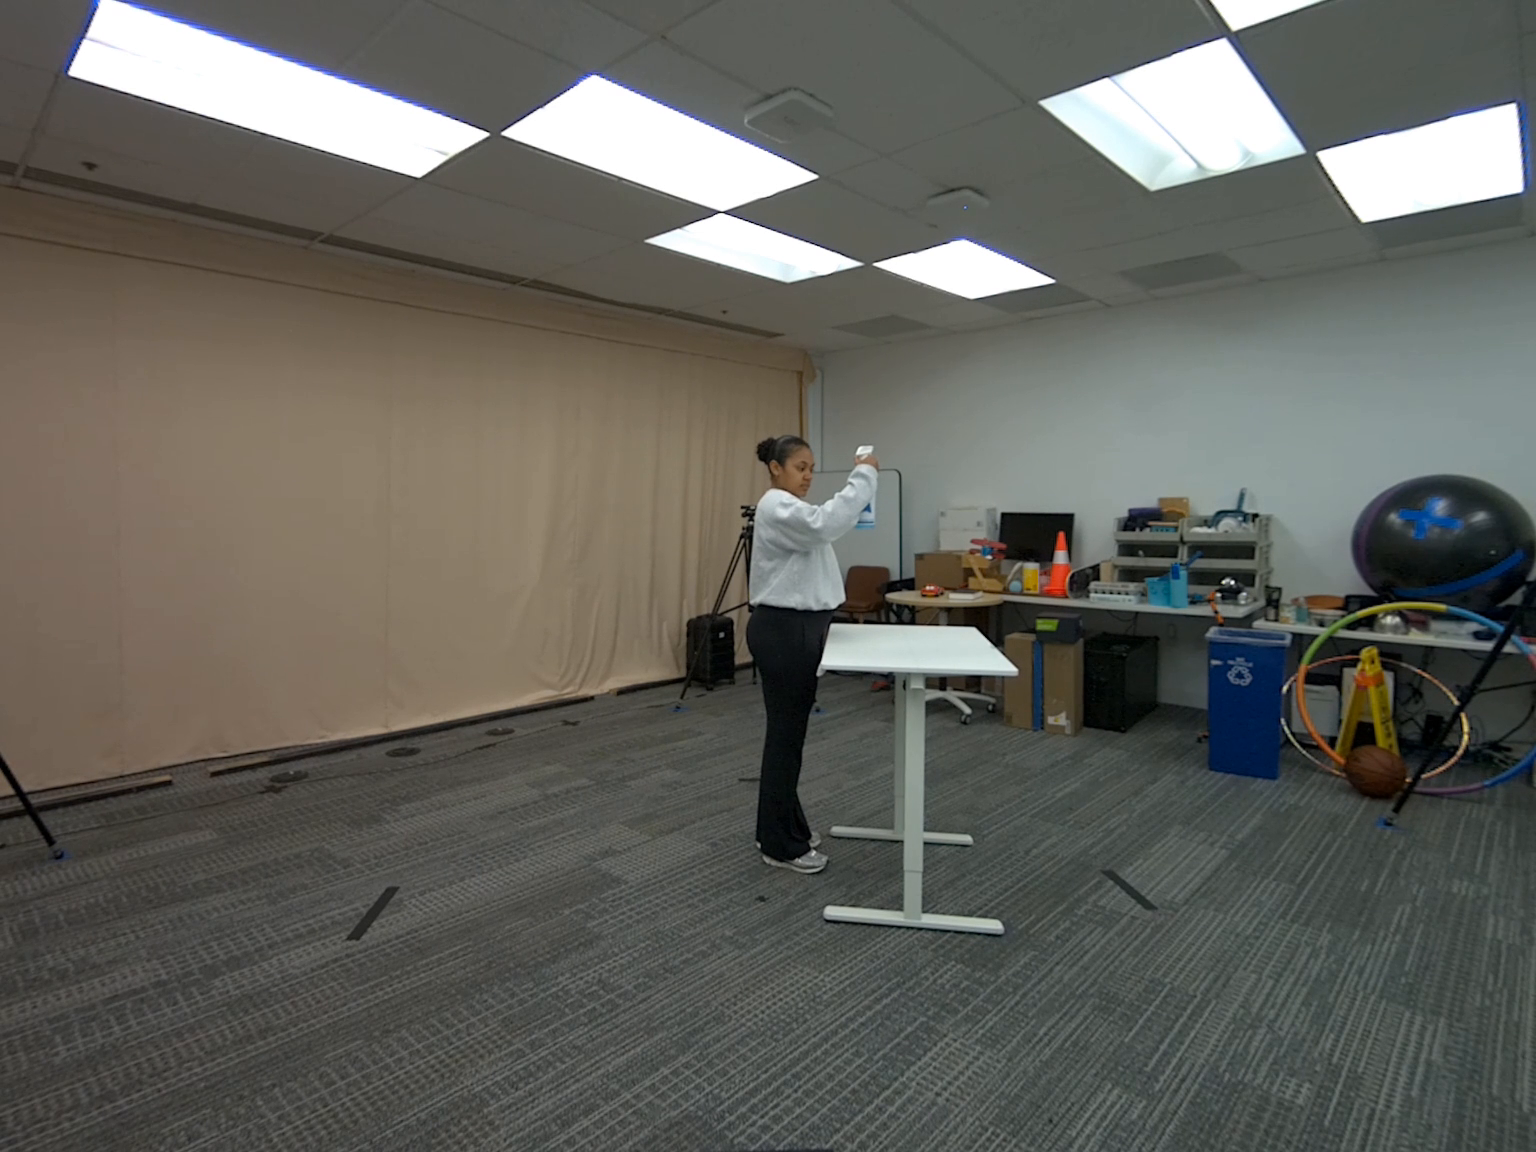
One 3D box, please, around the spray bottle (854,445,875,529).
[{"bbox_3d":[0.346,-0.318,3.036,0.088,0.296,0.089,-2,5,-23],"label":"spray bottle"}]
